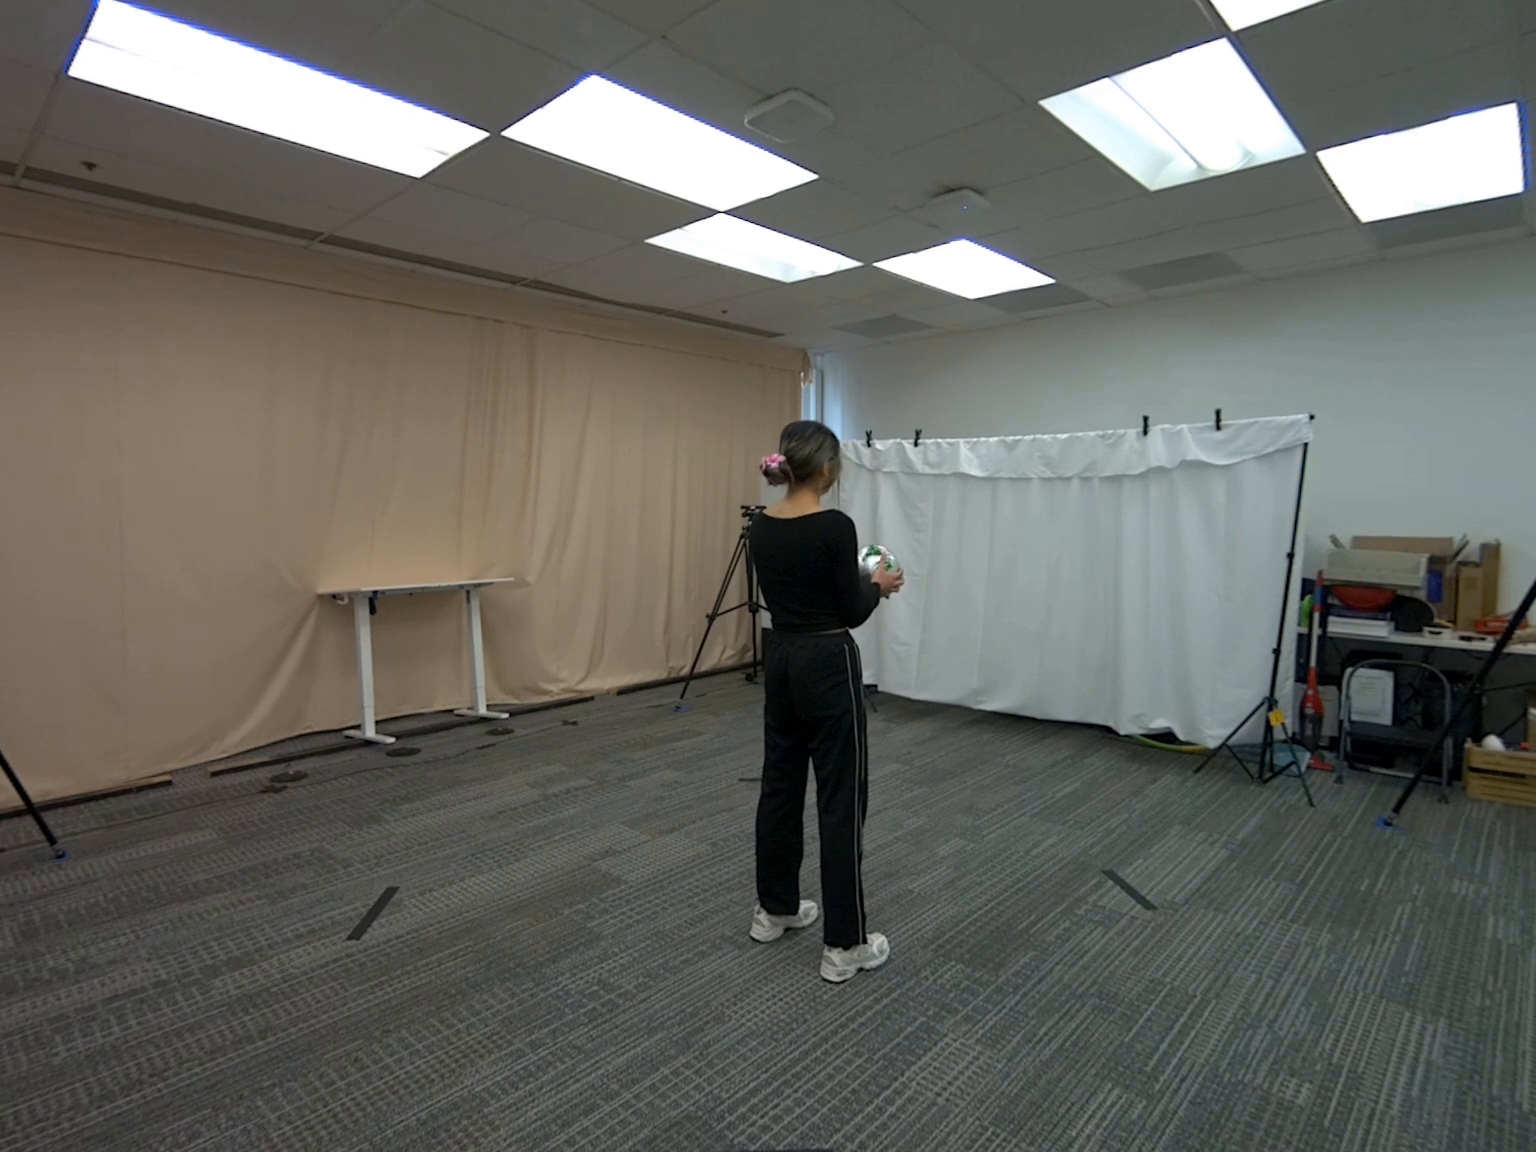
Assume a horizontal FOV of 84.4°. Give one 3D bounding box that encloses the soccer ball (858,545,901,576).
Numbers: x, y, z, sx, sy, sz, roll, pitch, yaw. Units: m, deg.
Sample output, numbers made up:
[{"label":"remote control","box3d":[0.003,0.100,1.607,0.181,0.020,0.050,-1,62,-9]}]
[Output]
[{"label":"soccer ball","box3d":[0.378,-0.003,2.890,0.187,0.187,0.188,0,4,-2]}]
